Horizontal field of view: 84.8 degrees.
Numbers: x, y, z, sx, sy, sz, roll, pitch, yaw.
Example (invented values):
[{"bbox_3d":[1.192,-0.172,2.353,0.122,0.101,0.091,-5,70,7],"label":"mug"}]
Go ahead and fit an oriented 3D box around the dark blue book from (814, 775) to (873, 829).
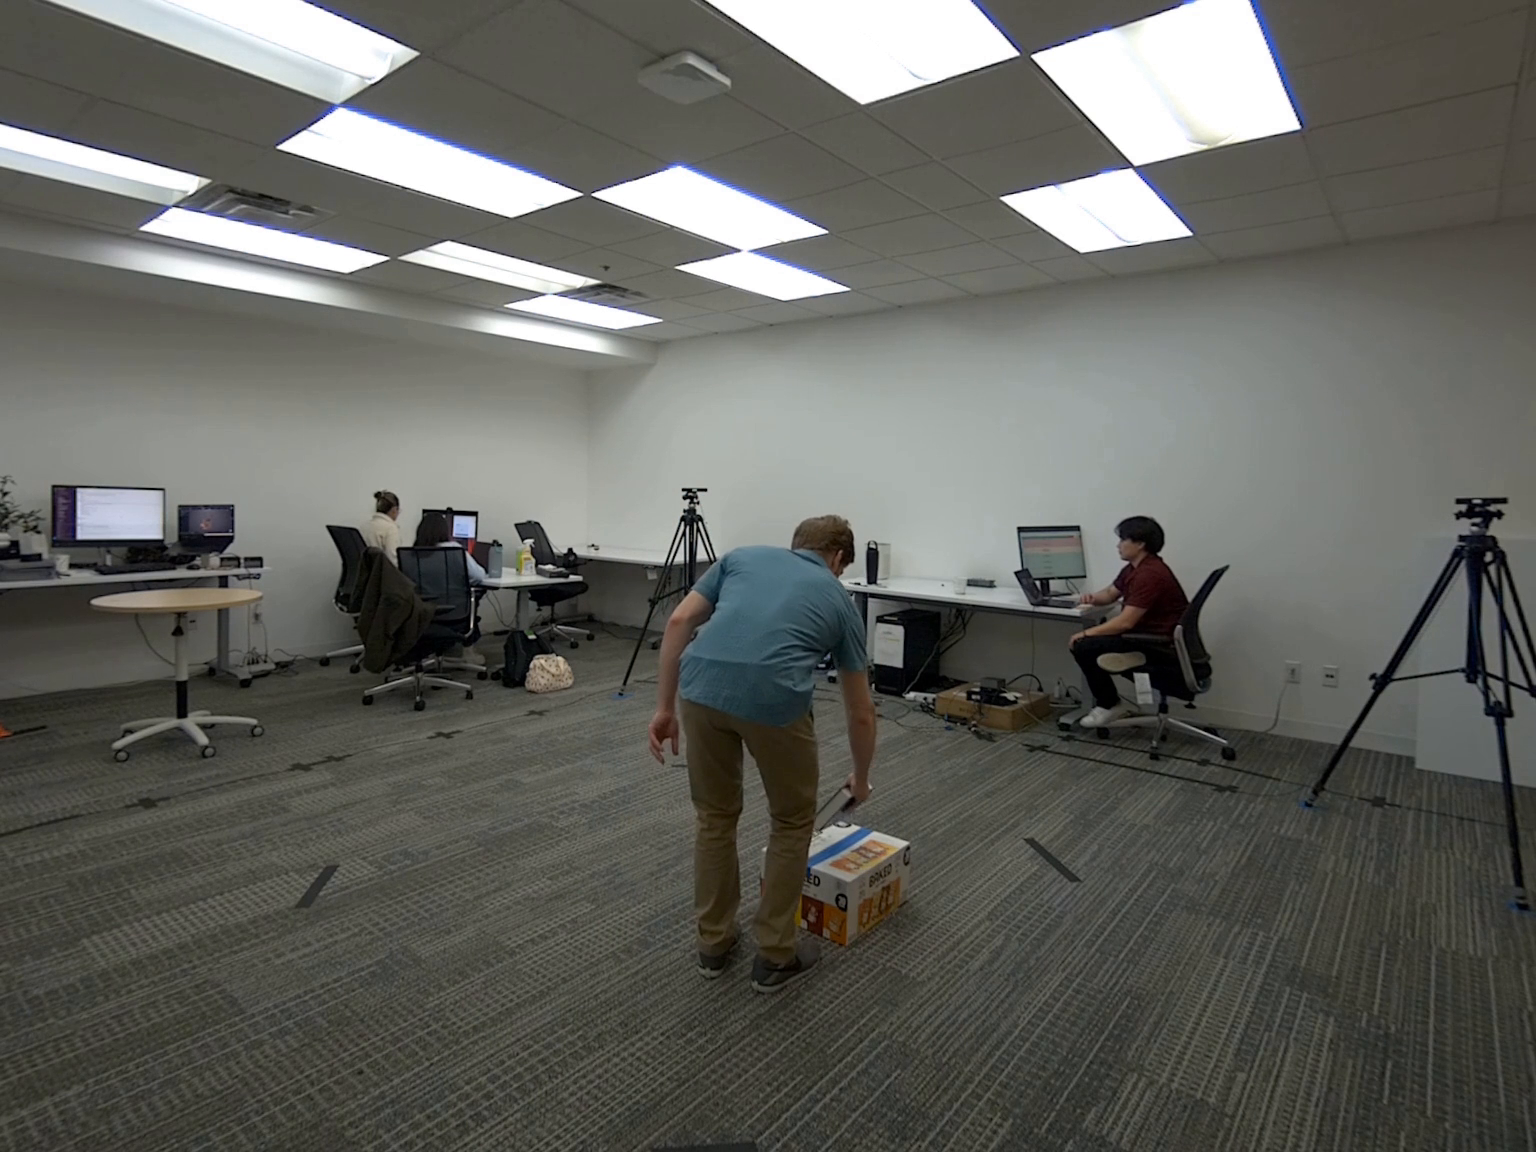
[{"bbox_3d":[0.243,0.741,2.809,0.047,0.163,0.237,39,14,25],"label":"dark blue book"}]
